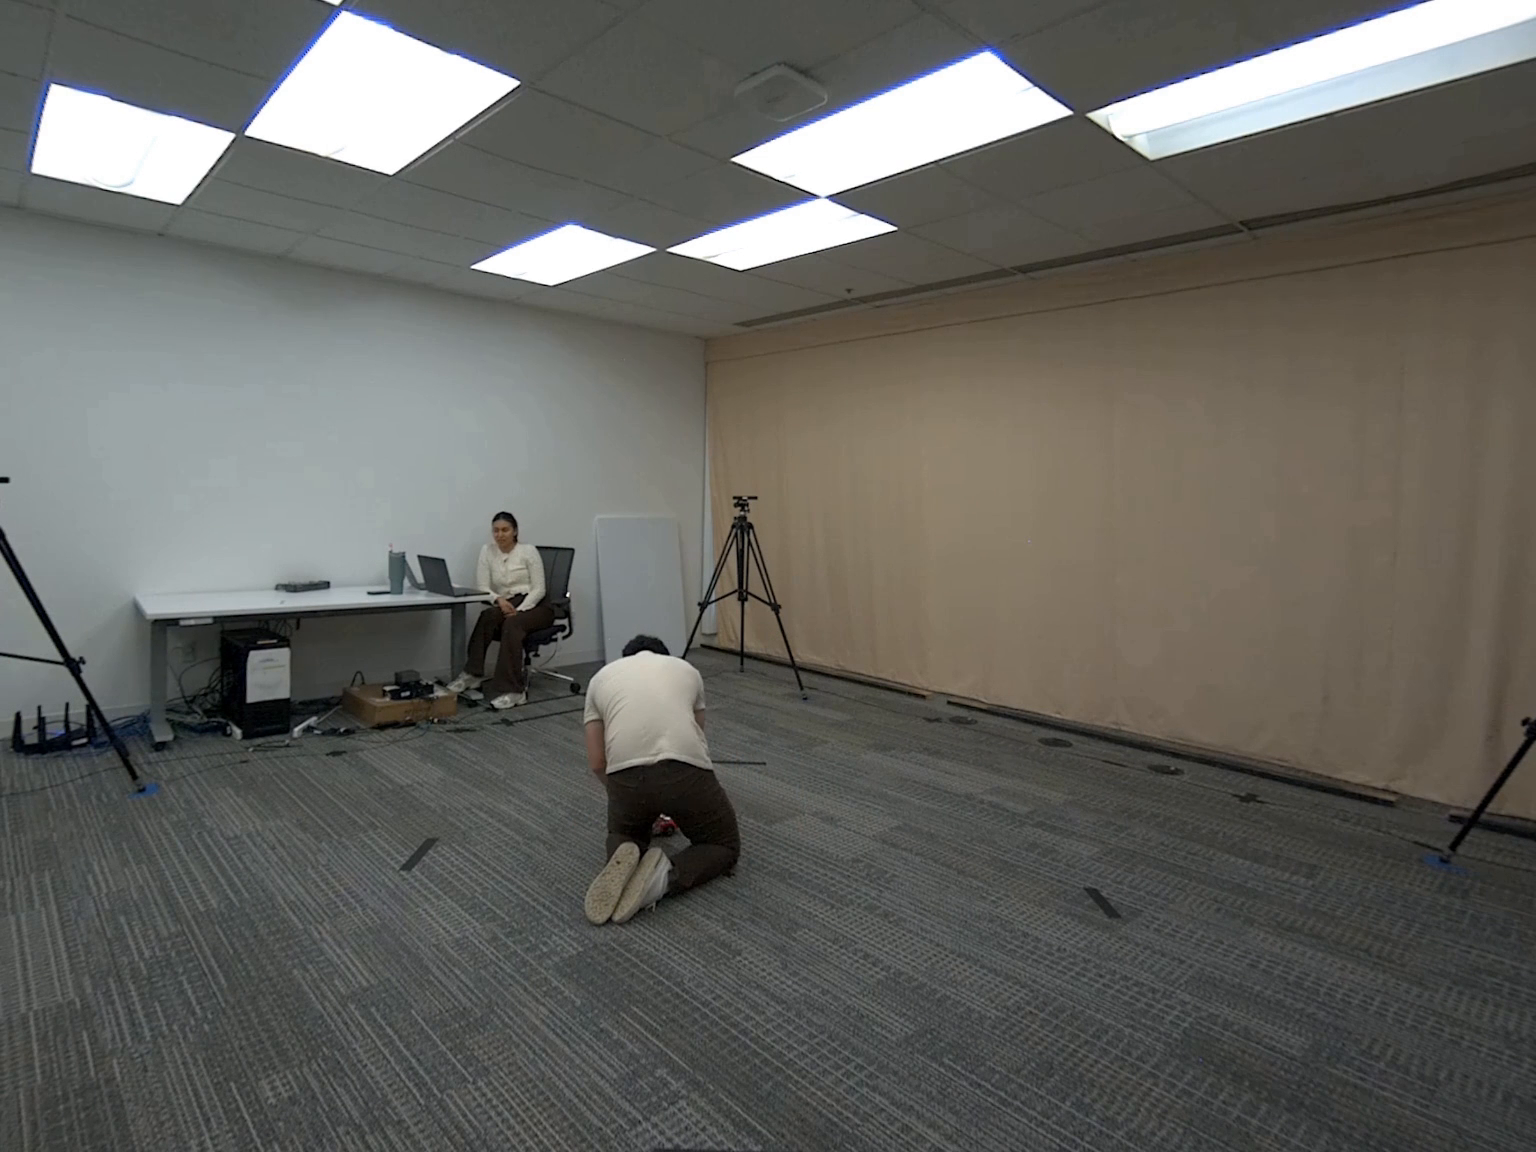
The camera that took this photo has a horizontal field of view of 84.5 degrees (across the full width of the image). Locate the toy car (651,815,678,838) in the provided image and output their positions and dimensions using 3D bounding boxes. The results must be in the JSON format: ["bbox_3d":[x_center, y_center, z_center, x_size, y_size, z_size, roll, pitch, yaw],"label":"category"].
[{"bbox_3d":[-0.468,1.034,3.465,0.251,0.082,0.133,-13,10,-26],"label":"toy car"}]
